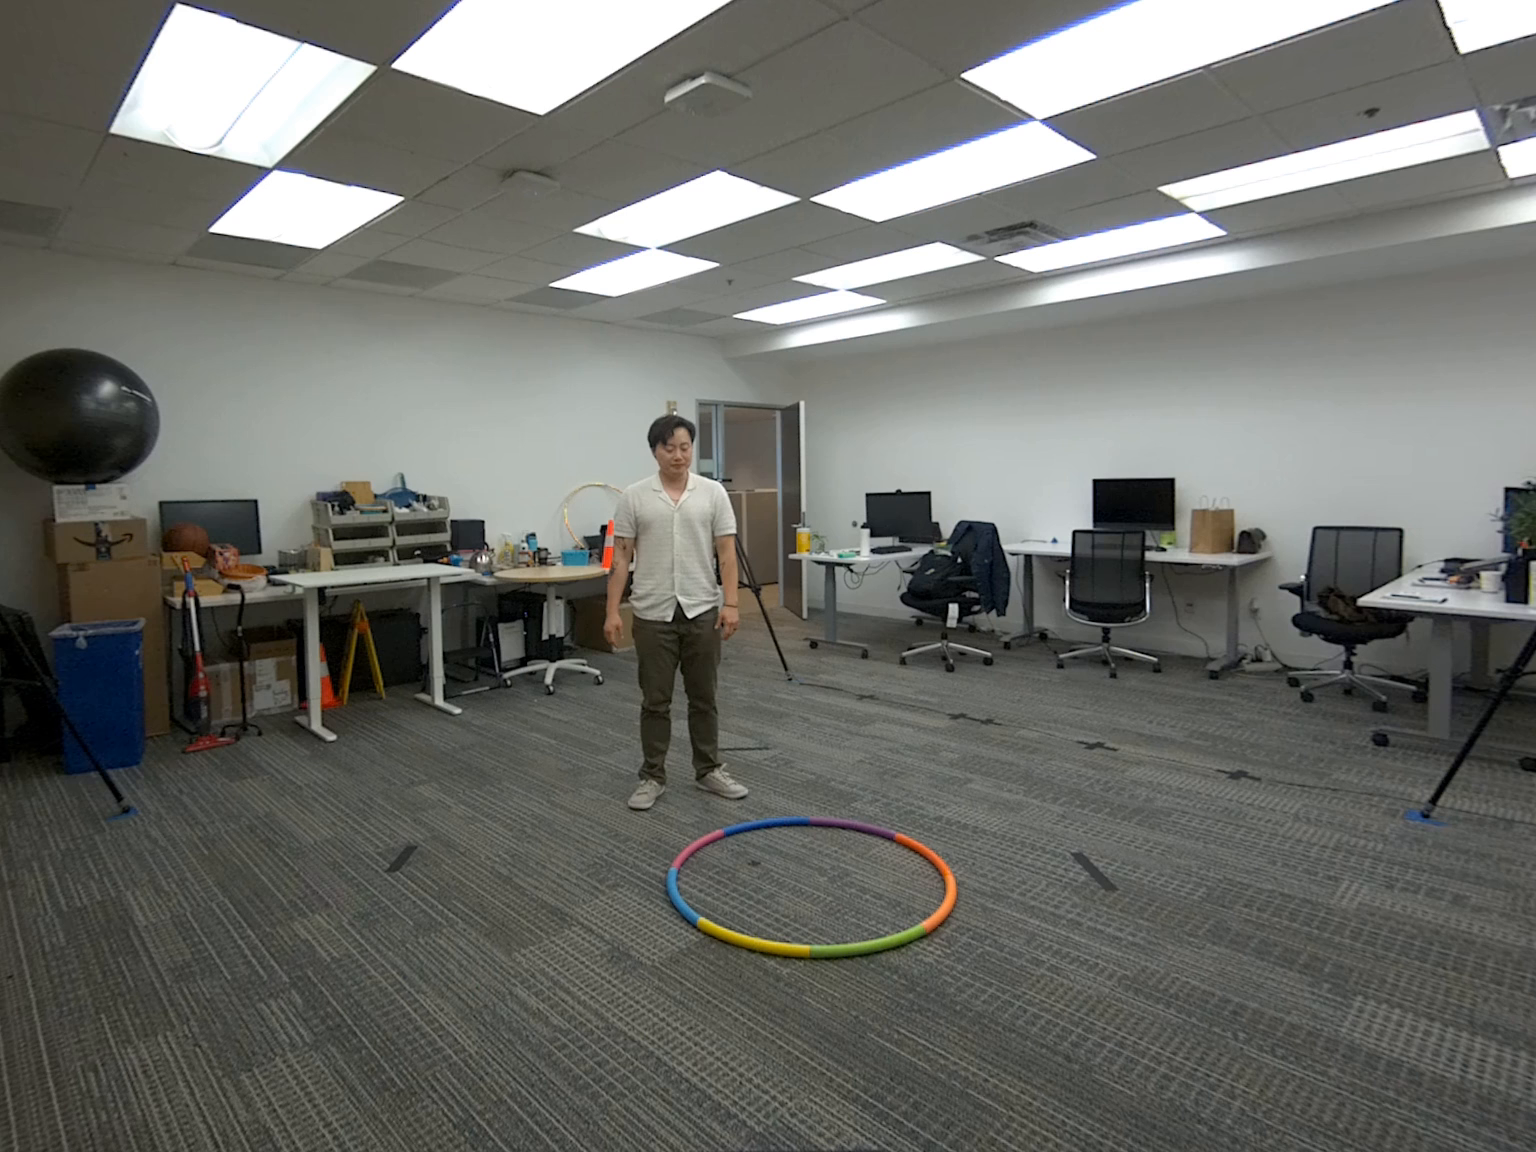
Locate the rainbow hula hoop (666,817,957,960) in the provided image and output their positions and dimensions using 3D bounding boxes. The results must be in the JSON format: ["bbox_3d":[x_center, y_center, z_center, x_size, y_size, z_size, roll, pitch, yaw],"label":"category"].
[{"bbox_3d":[0.141,1.029,2.967,0.978,0.035,0.984,-2,6,-2],"label":"rainbow hula hoop"}]
